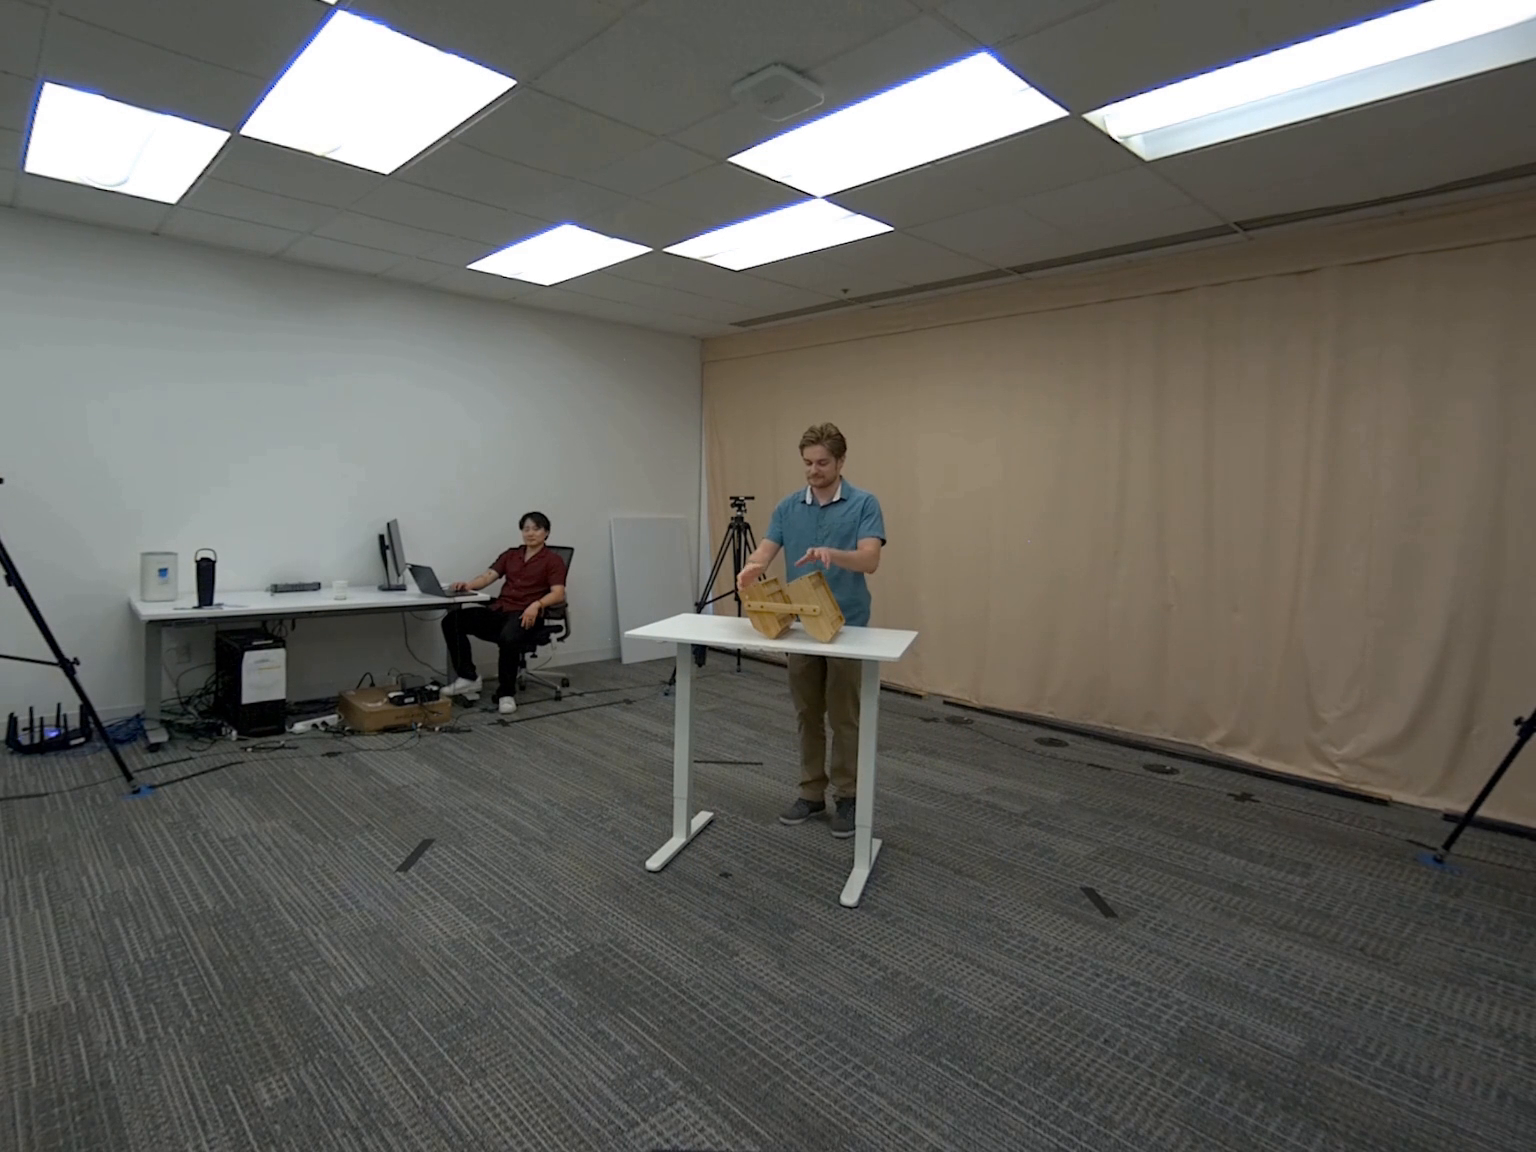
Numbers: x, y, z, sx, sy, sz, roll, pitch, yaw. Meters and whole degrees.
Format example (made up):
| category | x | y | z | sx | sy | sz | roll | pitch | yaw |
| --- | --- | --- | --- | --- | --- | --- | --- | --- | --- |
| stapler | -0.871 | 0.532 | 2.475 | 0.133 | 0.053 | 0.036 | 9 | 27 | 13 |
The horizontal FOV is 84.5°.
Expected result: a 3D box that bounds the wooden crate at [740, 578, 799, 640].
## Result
| category | x | y | z | sx | sy | sz | roll | pitch | yaw |
| --- | --- | --- | --- | --- | --- | --- | --- | --- | --- |
| wooden crate | 0.082 | 0.131 | 3.168 | 0.275 | 0.303 | 0.321 | -25 | -3 | 14 |
